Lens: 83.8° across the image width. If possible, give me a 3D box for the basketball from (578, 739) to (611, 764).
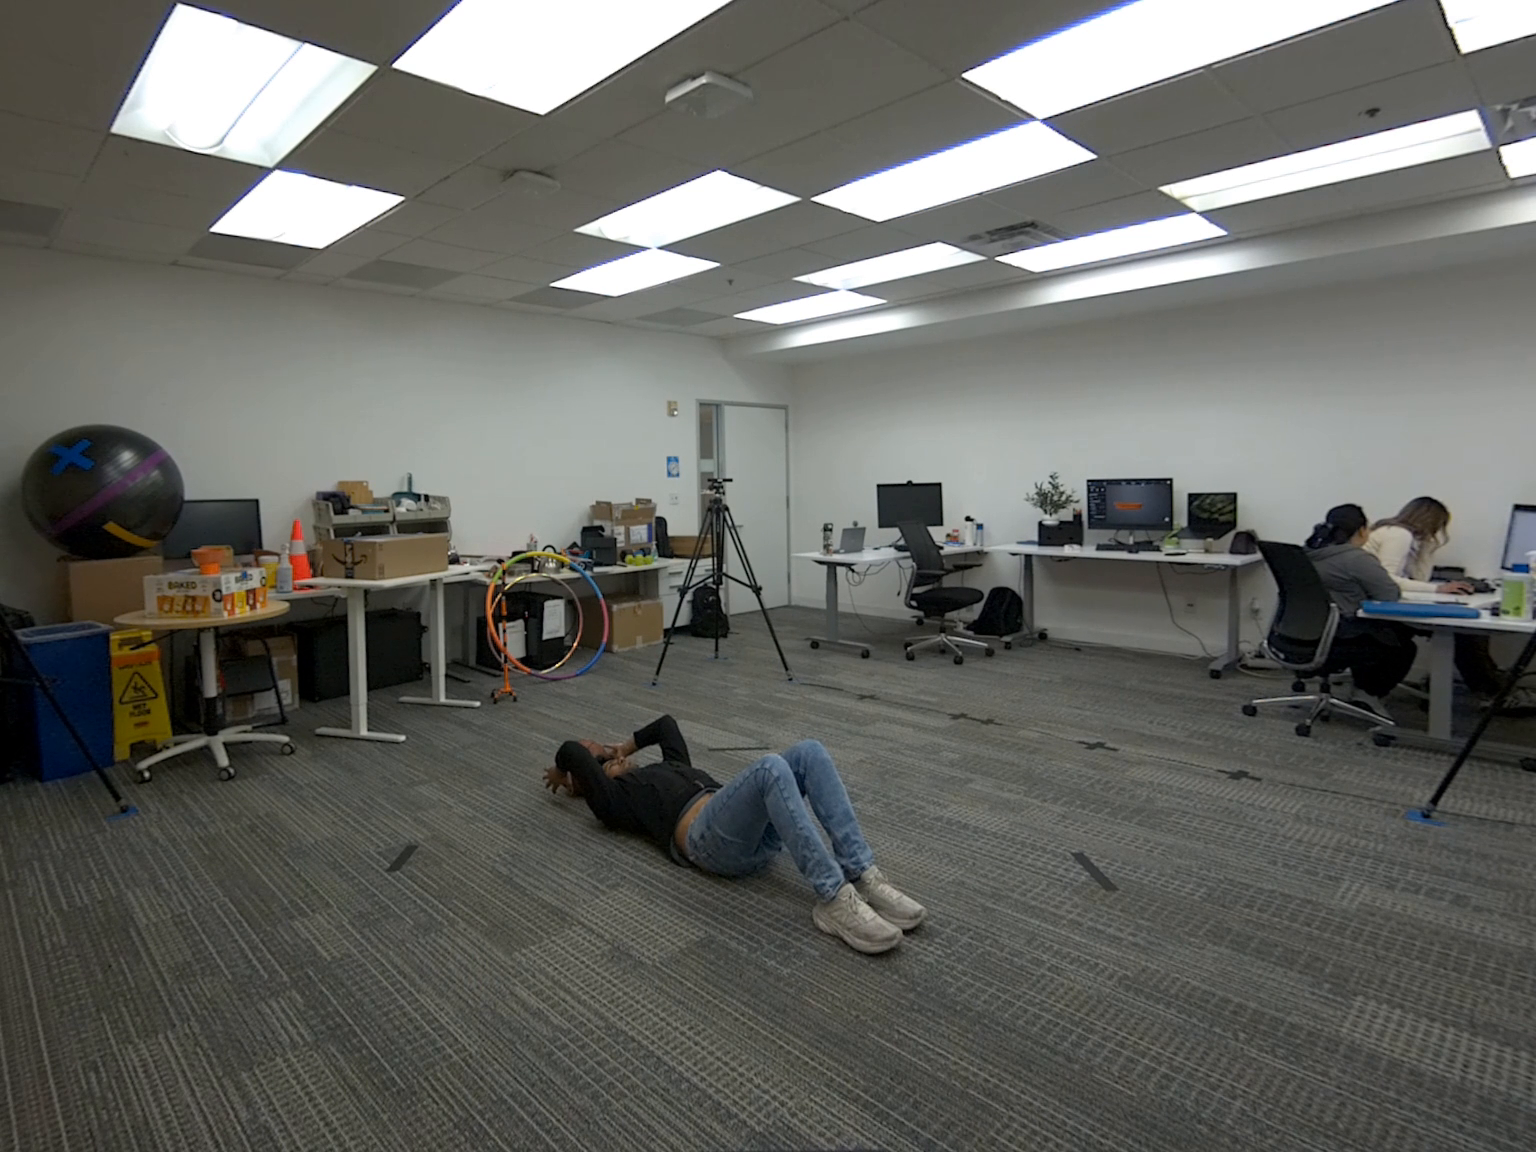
[{"bbox_3d":[-0.828,0.858,3.848,0.236,0.235,0.237,-1,5,-2],"label":"basketball"}]
